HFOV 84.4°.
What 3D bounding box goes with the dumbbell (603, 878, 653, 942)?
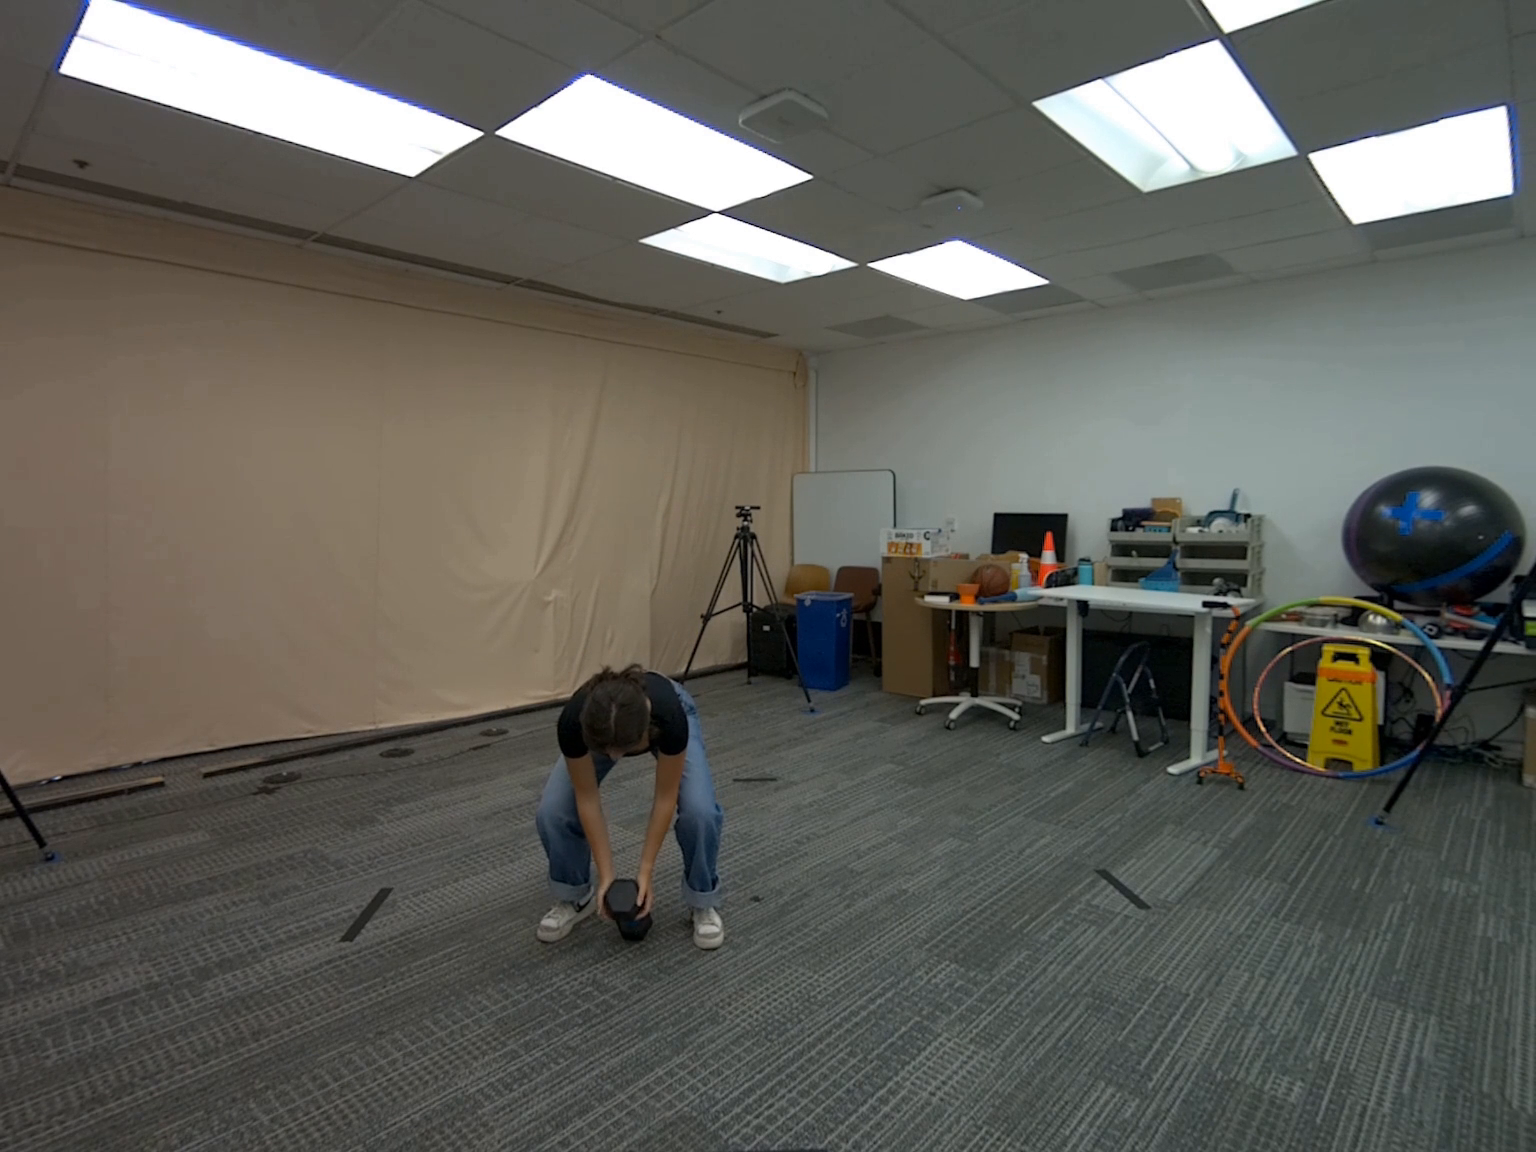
[{"bbox_3d":[-0.432,1.058,2.626,0.111,0.122,0.288,27,-32,20],"label":"dumbbell"}]
